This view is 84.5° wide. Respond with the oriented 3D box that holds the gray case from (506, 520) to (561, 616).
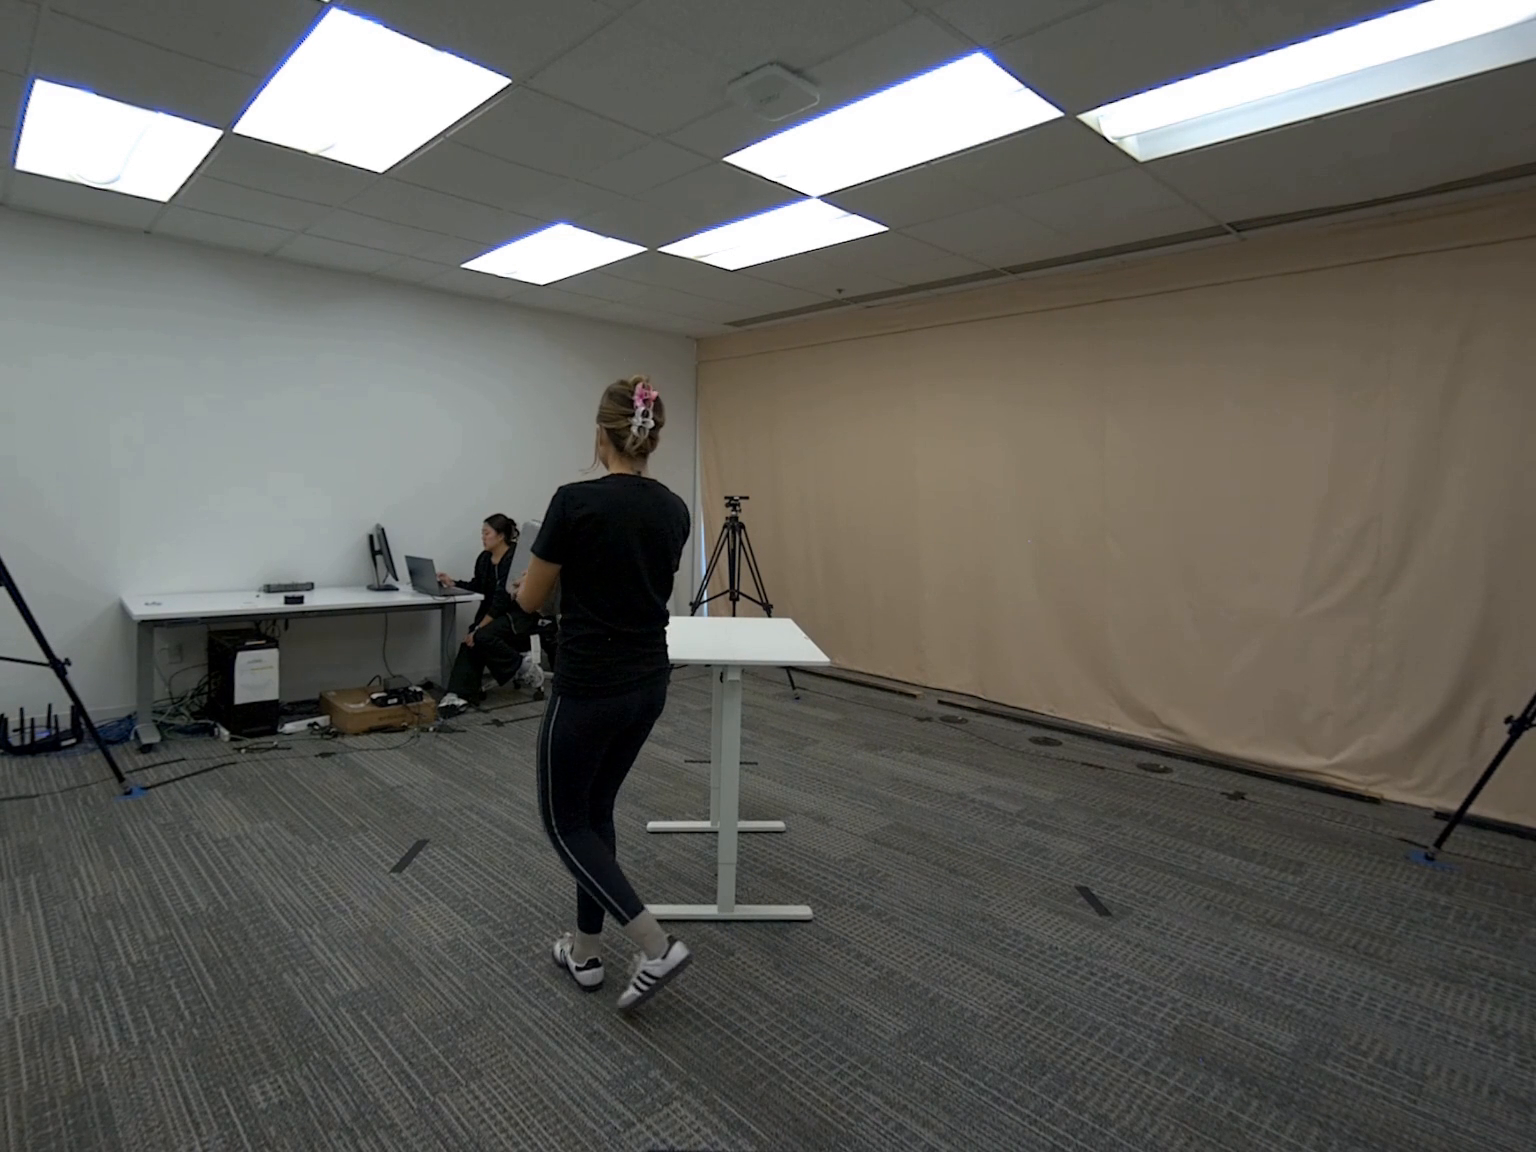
[{"bbox_3d":[-0.693,-0.030,2.608,0.101,0.260,0.265,11,9,-43],"label":"gray case"}]
